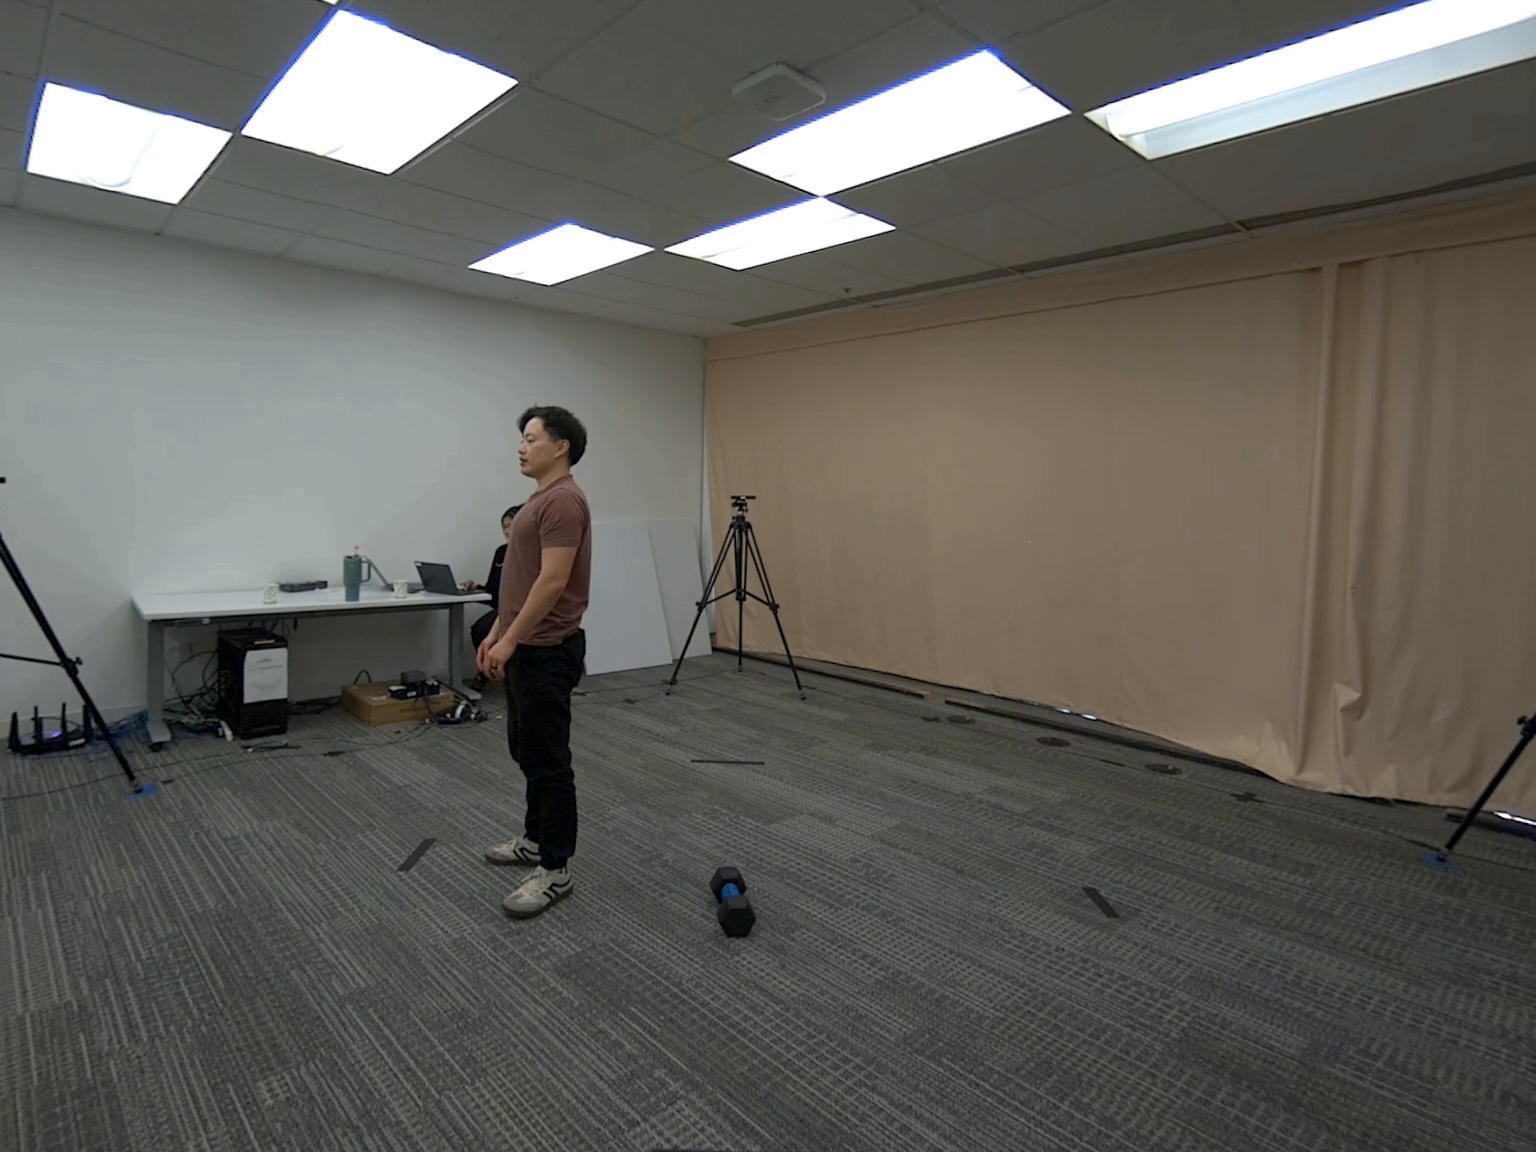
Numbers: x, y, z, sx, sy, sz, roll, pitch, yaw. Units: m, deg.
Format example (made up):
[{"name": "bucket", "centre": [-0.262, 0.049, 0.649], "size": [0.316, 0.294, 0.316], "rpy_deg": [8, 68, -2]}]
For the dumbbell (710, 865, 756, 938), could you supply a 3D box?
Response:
[{"name": "dumbbell", "centre": [-0.128, 1.079, 2.793], "size": [0.108, 0.123, 0.296], "rpy_deg": [31, 0, -10]}]
